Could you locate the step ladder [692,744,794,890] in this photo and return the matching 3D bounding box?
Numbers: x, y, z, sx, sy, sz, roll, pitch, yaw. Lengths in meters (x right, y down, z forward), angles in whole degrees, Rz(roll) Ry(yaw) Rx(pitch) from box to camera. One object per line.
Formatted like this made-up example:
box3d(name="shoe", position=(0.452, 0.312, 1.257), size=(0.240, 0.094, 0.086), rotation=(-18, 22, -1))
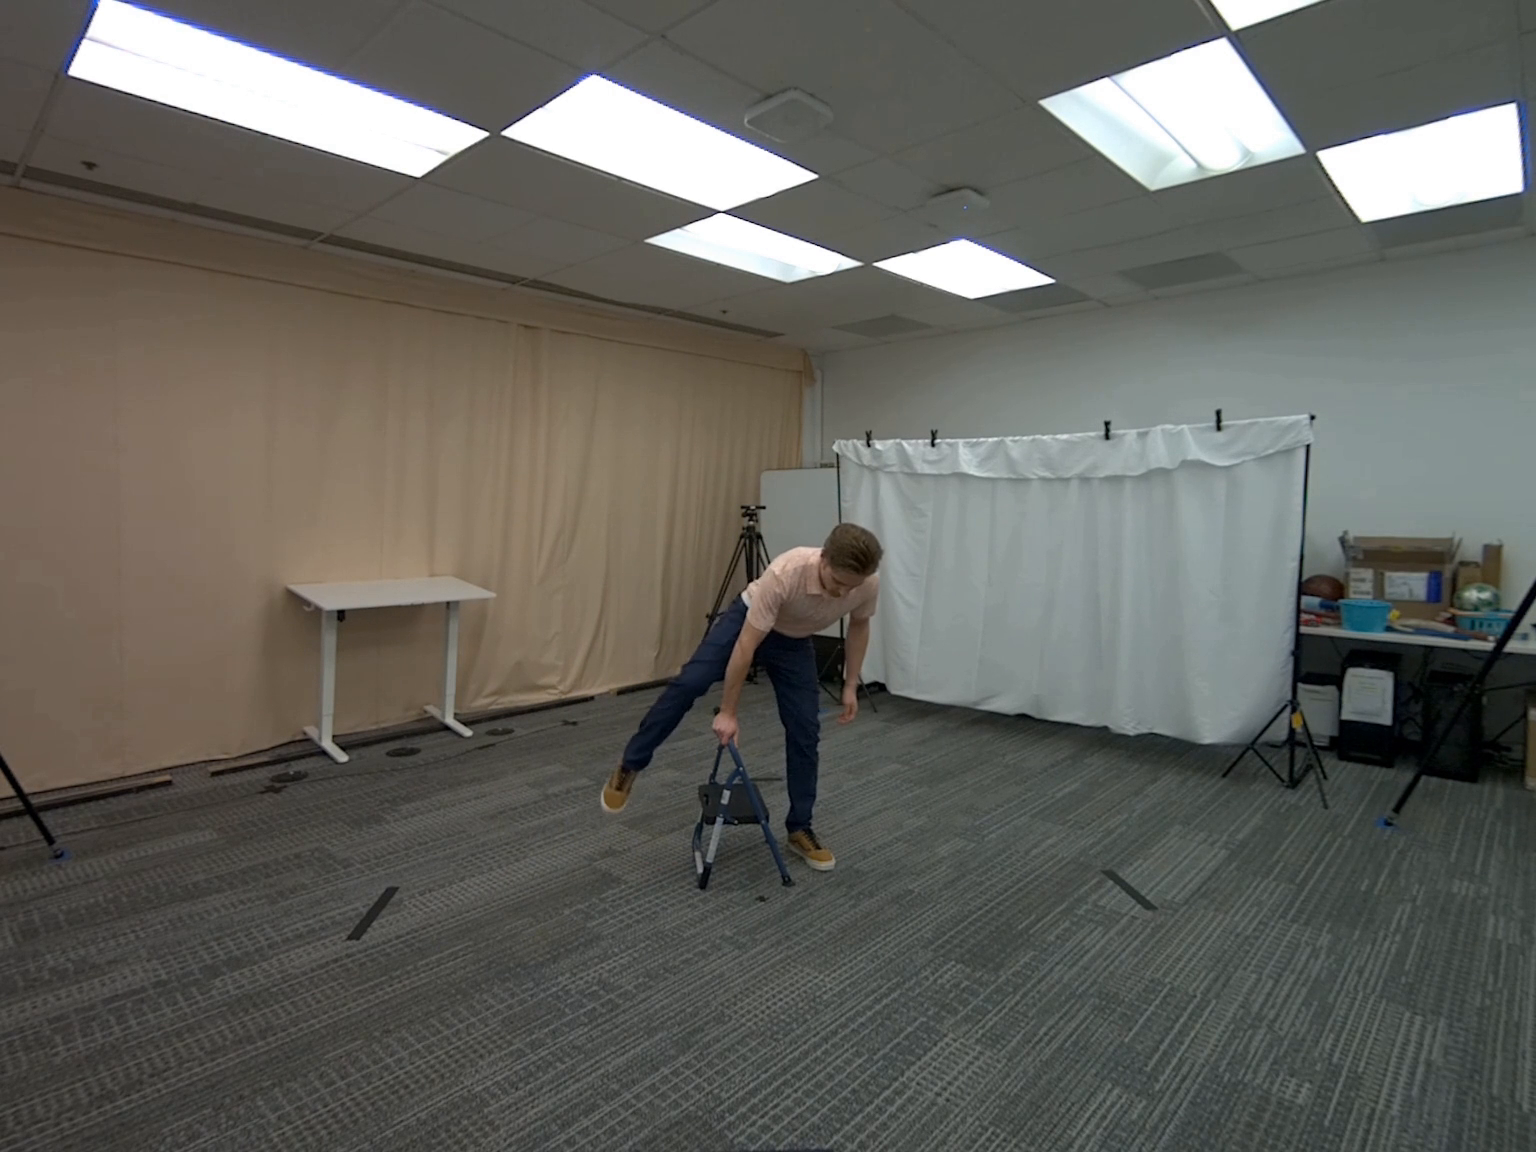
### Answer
box3d(name="step ladder", position=(-0.113, 0.822, 3.259), size=(0.346, 0.605, 0.435), rotation=(0, 3, -8))
